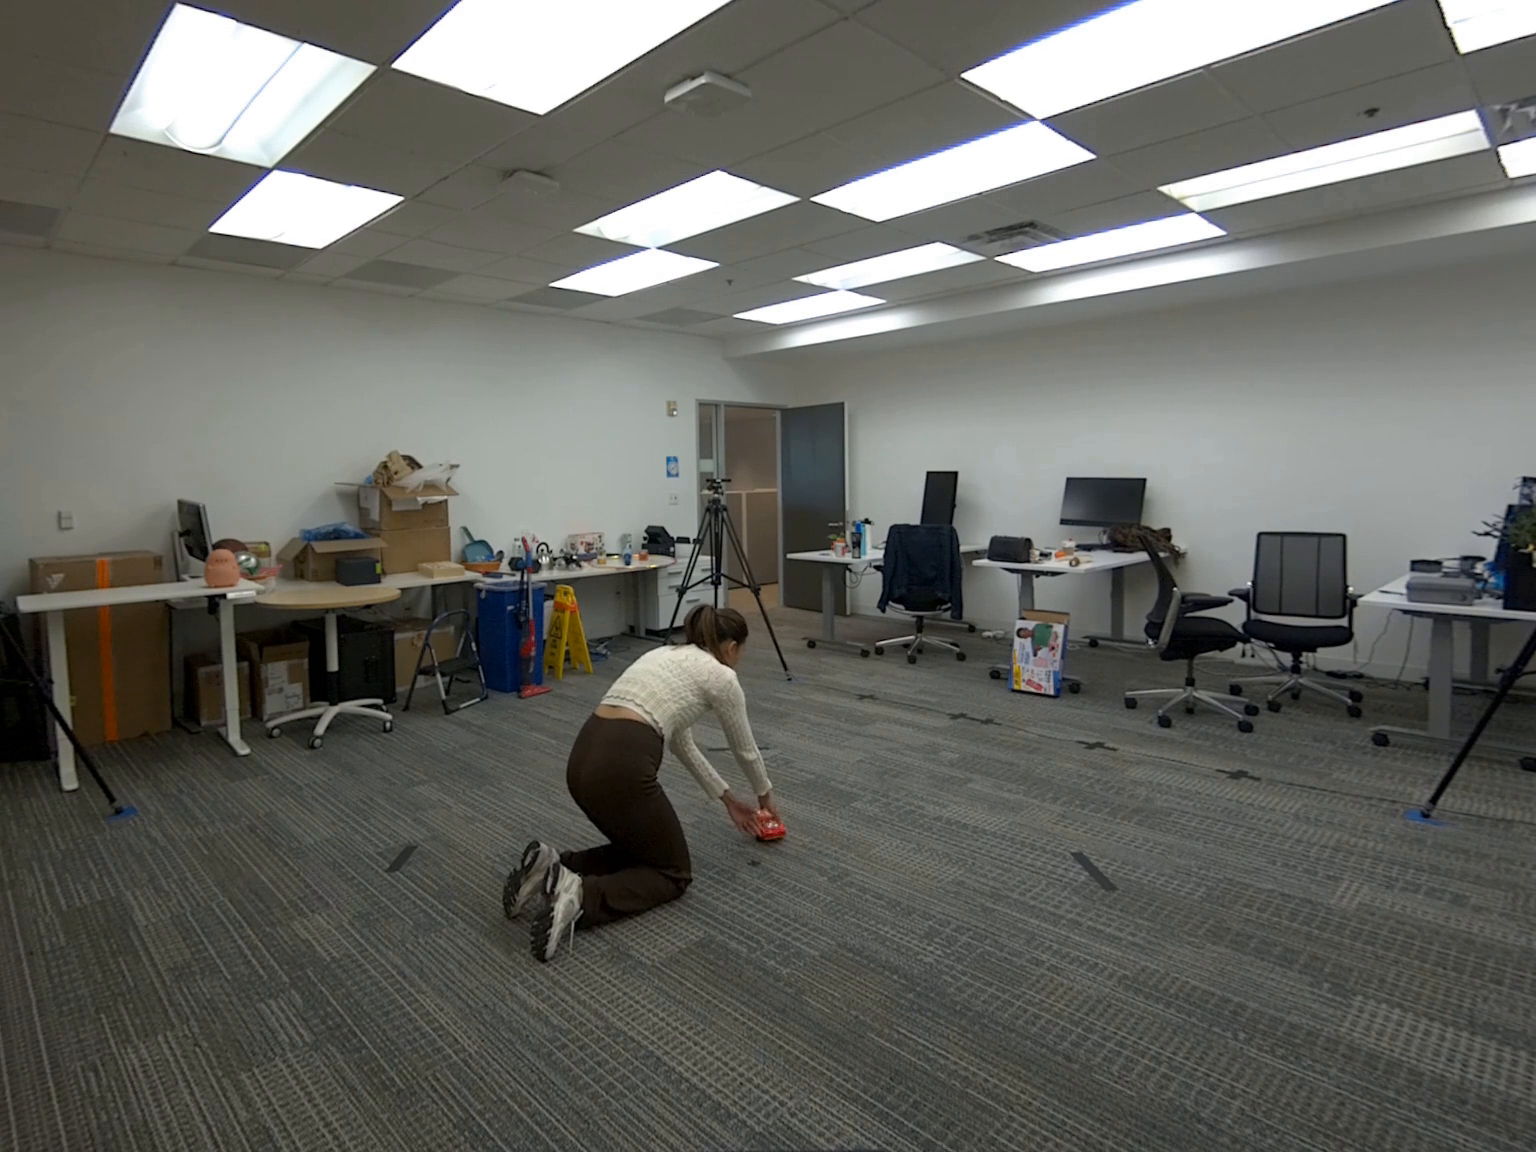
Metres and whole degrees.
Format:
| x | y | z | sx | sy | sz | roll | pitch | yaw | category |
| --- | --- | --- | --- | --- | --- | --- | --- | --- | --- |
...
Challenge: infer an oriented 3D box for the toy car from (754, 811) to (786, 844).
| x | y | z | sx | sy | sz | roll | pitch | yaw | category |
| --- | --- | --- | --- | --- | --- | --- | --- | --- | --- |
| -0.011 | 0.983 | 3.361 | 0.128 | 0.083 | 0.258 | -1 | -4 | -20 | toy car |
